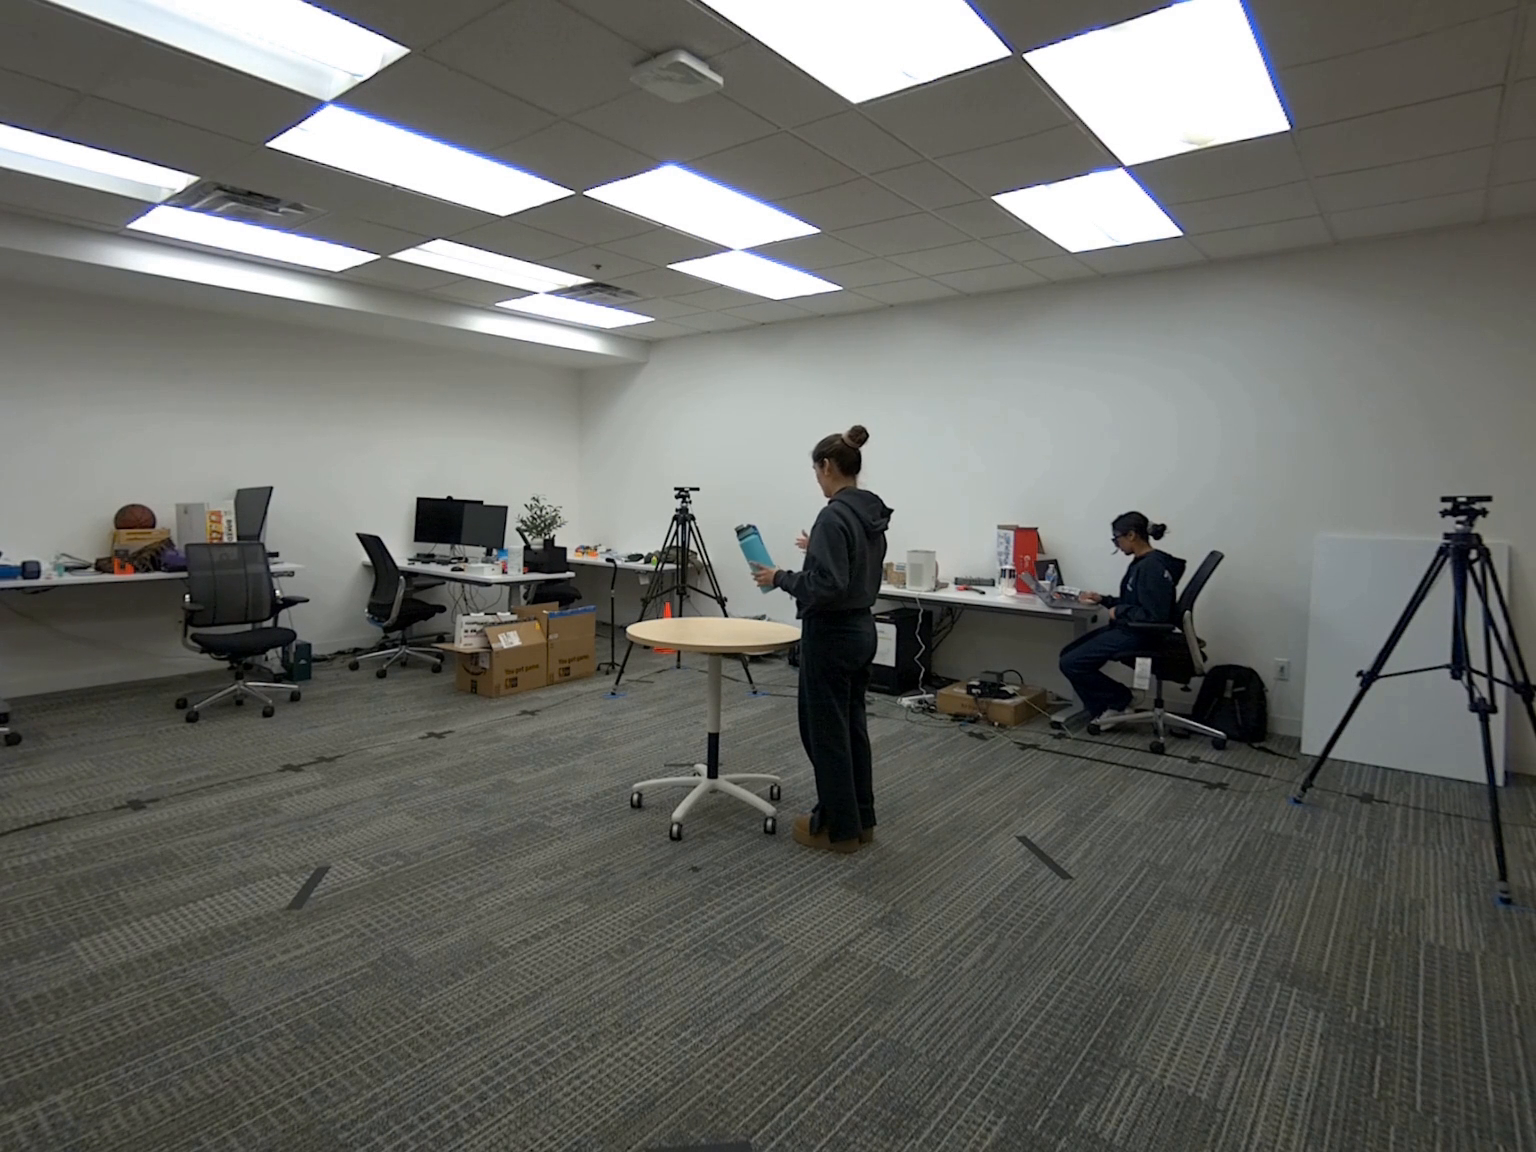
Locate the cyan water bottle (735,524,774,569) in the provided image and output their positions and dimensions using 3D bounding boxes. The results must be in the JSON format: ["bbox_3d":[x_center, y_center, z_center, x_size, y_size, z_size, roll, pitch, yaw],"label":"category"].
[{"bbox_3d":[-0.033,-0.090,3.359,0.092,0.285,0.092,-24,-4,-3],"label":"cyan water bottle"}]
